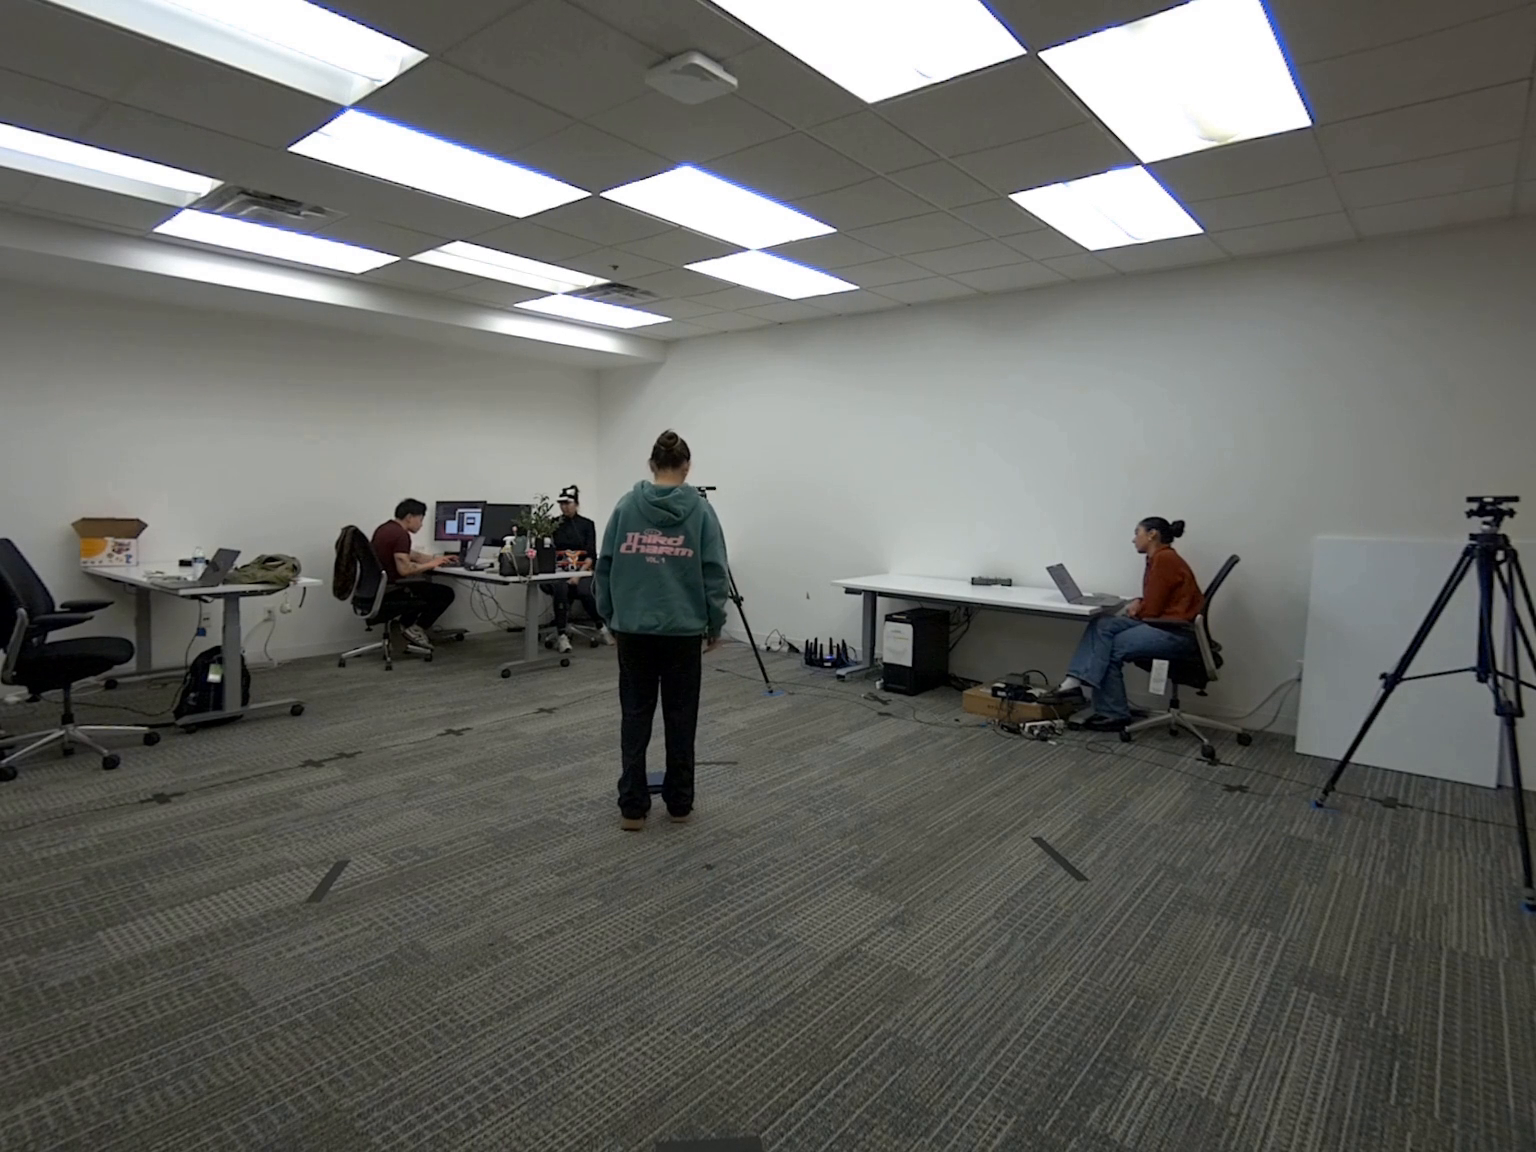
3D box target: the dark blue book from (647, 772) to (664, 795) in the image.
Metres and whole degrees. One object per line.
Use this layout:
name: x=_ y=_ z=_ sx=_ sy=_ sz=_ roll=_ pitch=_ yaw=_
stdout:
dark blue book: x=-0.549 y=0.948 z=3.929 sx=0.241 sy=0.045 sz=0.167 roll=-2 pitch=6 yaw=-16
